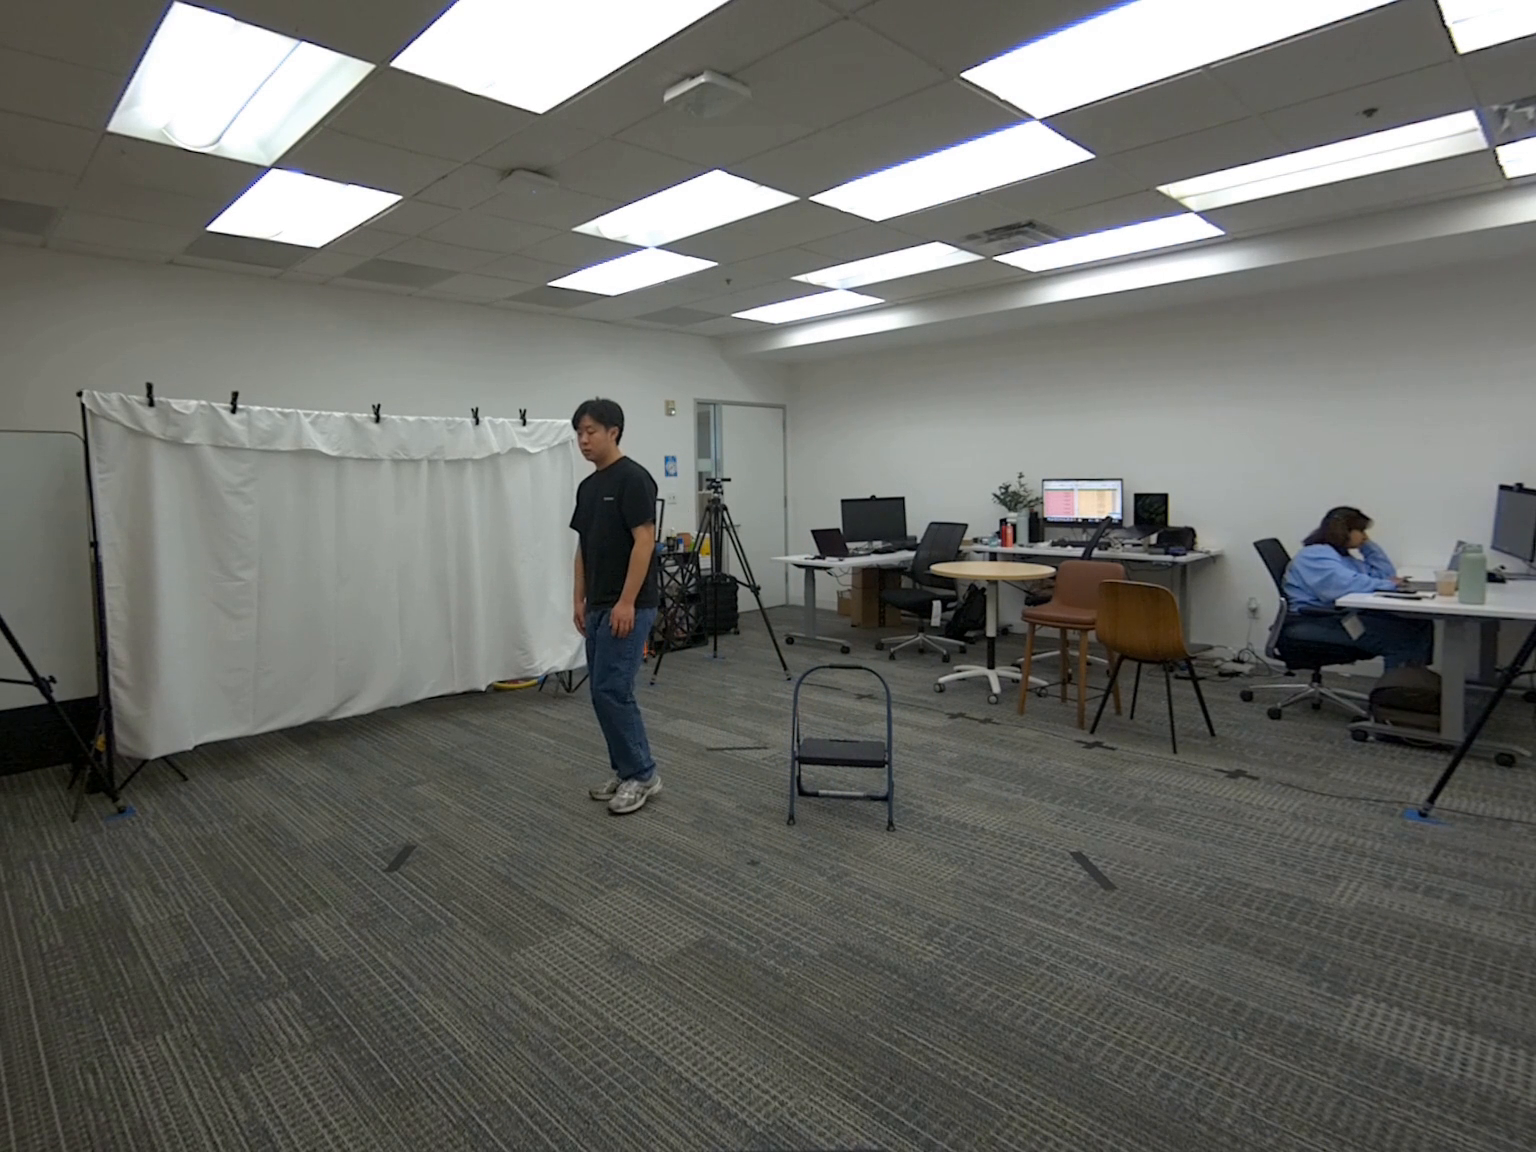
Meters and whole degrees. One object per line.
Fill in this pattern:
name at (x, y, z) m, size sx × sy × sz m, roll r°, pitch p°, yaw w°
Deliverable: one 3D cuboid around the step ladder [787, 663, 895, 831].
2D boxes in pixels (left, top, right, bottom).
step ladder at (0.311, 0.685, 3.549) m, size 0.435 × 0.603 × 0.347 m, roll 0°, pitch 5°, yaw 9°
